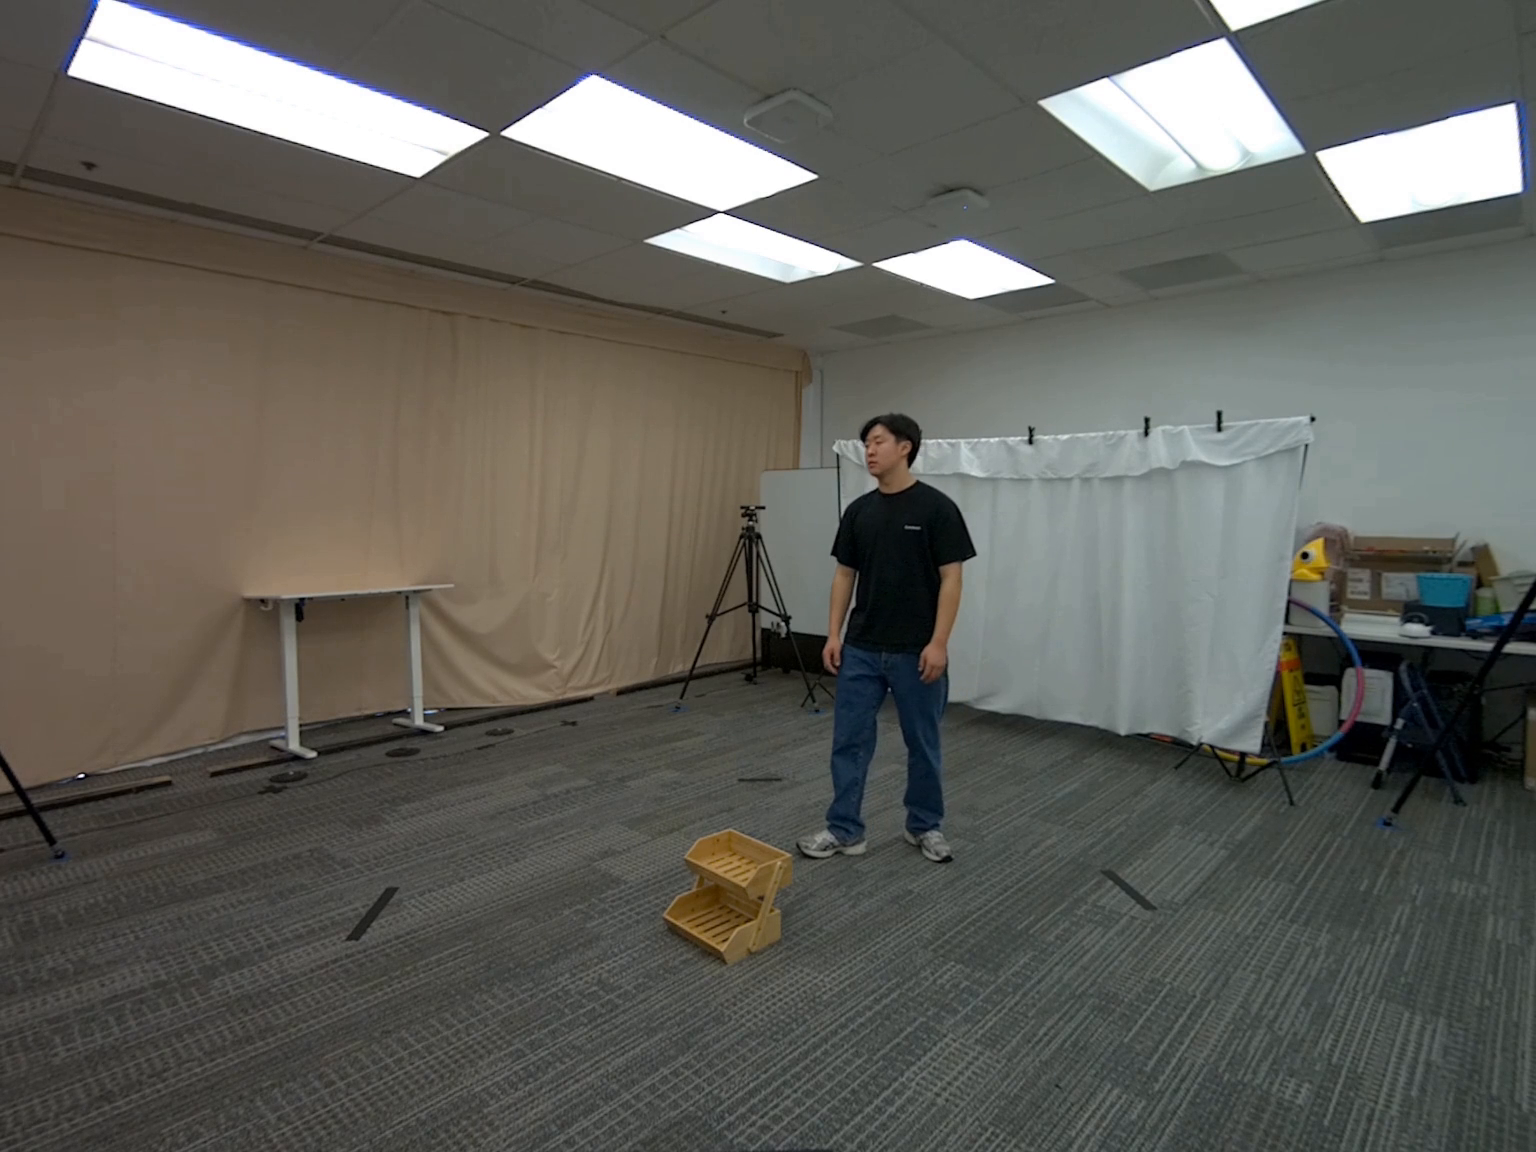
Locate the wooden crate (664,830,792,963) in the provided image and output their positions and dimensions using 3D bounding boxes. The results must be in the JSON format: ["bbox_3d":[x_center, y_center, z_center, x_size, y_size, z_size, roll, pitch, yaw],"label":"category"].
[{"bbox_3d":[-0.131,1.031,2.747,0.293,0.273,0.335,-3,5,-43],"label":"wooden crate"}]
